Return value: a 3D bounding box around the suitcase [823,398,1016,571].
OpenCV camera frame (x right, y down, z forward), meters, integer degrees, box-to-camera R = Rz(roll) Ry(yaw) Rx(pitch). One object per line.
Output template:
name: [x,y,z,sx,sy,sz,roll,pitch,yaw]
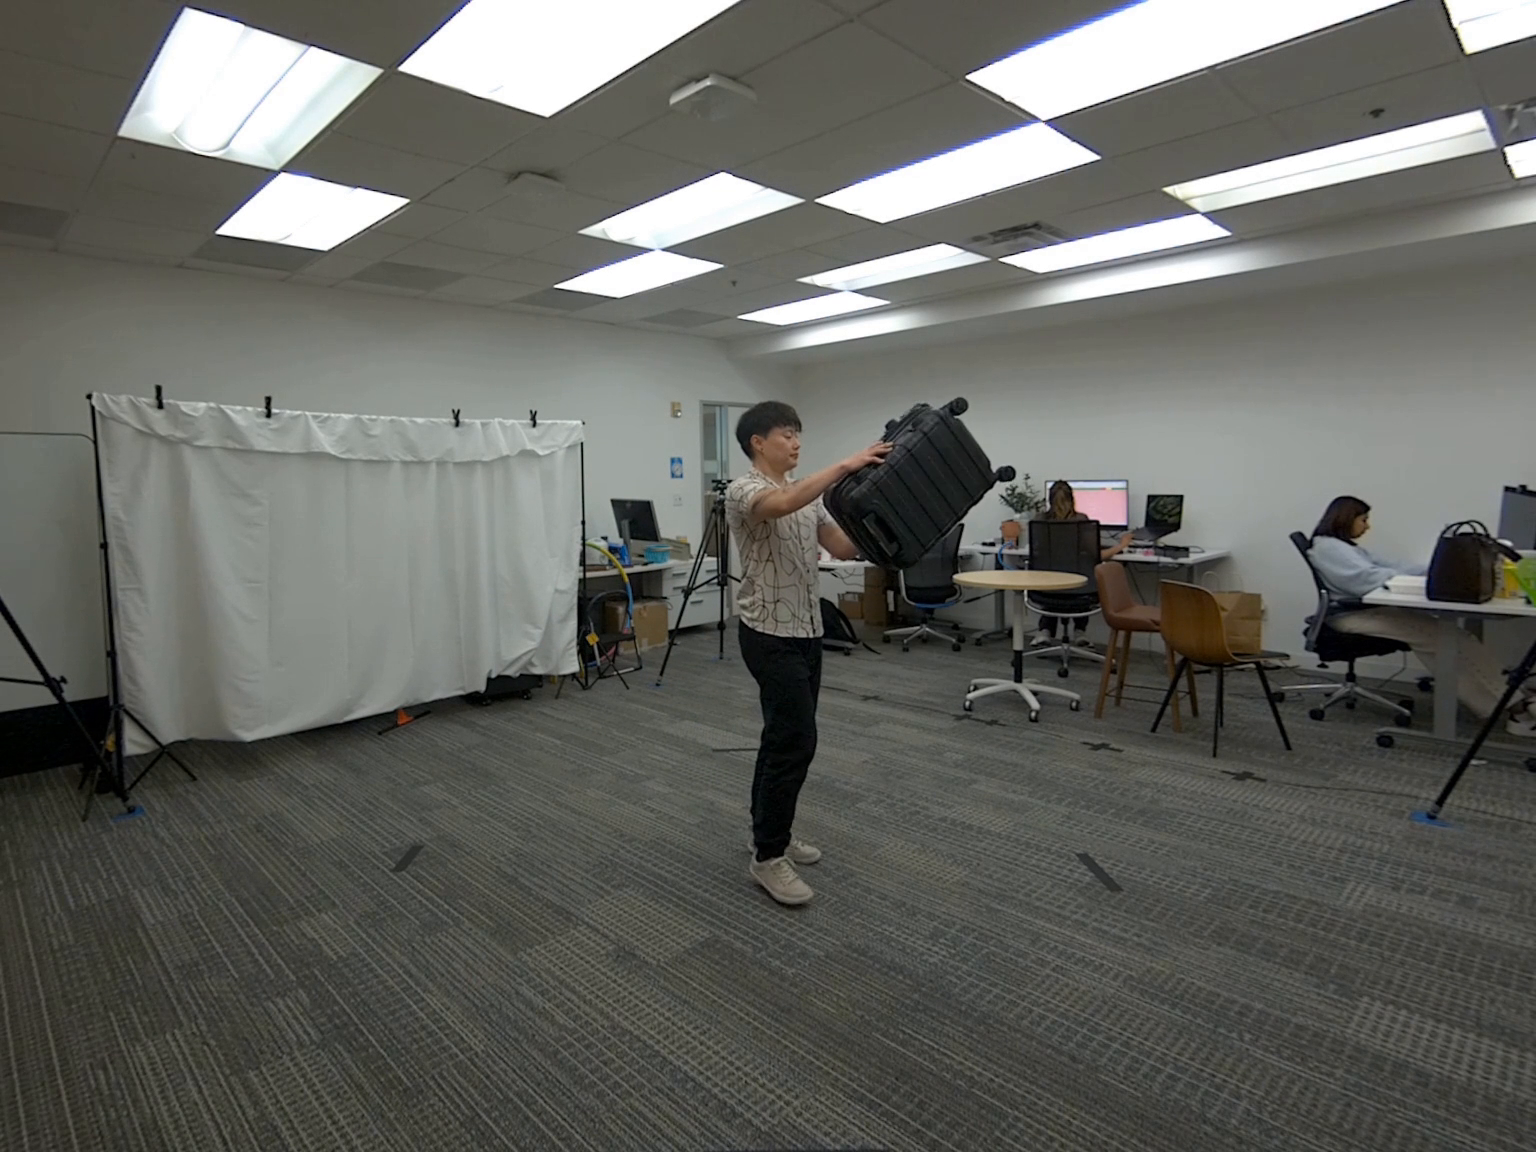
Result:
suitcase: [0.490,-0.295,2.870,0.549,0.367,0.254,-44,18,-12]
